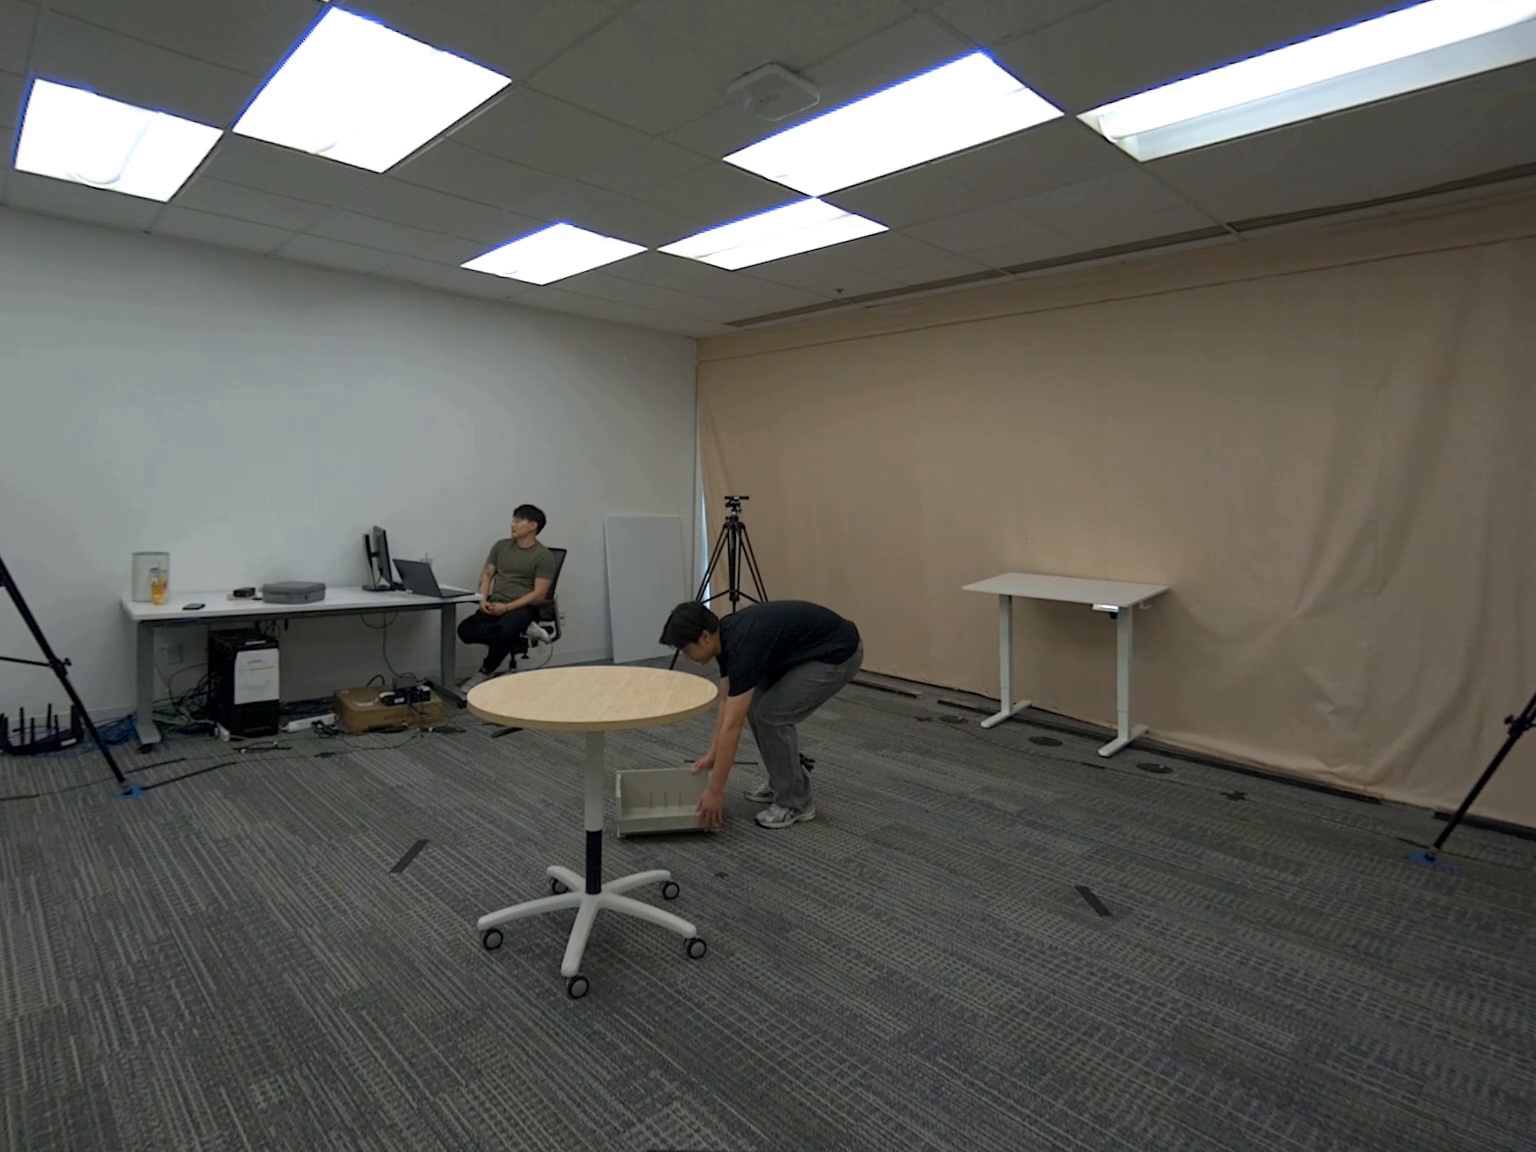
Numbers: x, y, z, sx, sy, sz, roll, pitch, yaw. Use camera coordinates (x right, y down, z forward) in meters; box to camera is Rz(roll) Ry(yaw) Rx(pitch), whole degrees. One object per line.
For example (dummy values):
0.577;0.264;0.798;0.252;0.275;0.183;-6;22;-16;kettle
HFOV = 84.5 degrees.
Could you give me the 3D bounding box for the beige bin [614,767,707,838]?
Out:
-0.436;0.962;3.559;0.419;0.189;0.380;-2;3;-9;beige bin
